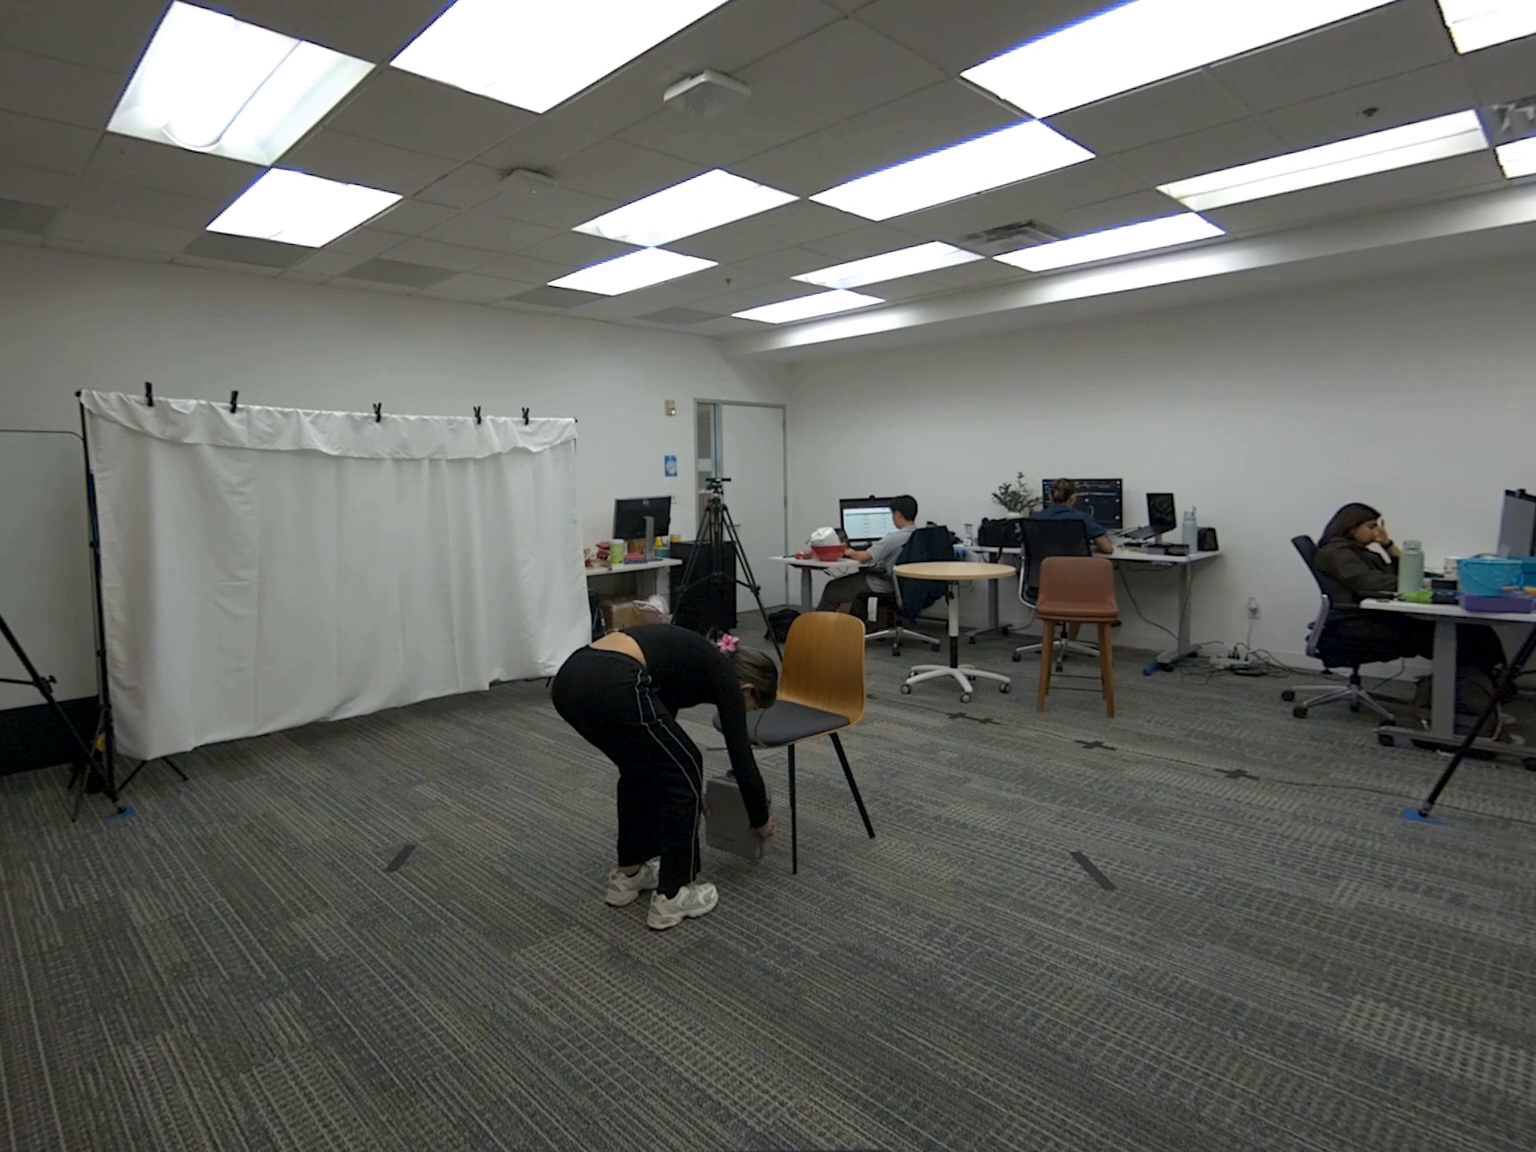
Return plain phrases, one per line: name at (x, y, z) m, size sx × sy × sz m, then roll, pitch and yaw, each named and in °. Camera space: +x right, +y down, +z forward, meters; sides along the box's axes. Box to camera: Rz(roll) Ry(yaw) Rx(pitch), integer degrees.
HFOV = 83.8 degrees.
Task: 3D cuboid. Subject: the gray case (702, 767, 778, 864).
gray case at (-0.104, 0.848, 3.067) m, size 0.265 × 0.261 × 0.101 m, roll 2°, pitch -1°, yaw 42°
